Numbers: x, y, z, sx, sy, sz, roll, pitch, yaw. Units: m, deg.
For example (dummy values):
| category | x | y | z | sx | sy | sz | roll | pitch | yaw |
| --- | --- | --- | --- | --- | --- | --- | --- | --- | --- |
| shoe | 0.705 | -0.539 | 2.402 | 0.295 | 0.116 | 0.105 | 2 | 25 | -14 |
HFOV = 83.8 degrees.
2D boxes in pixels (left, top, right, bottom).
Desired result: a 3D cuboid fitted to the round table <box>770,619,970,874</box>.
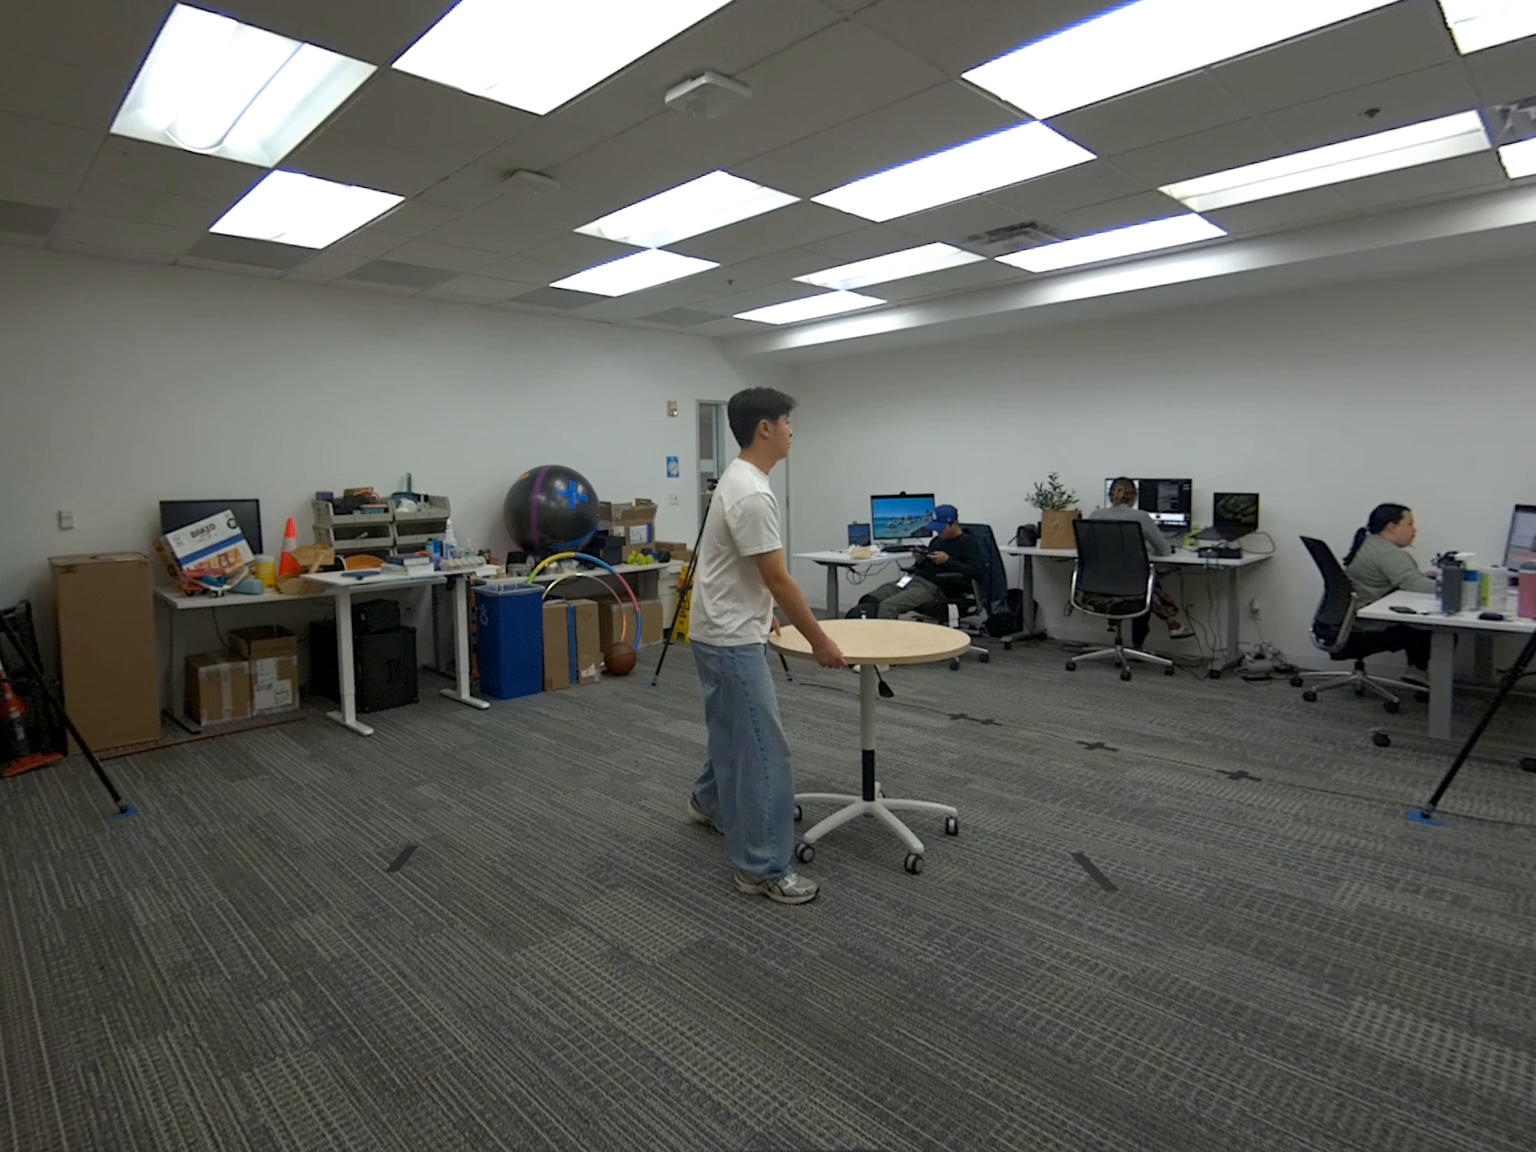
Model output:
| category | x | y | z | sx | sy | sz | roll | pitch | yaw |
| --- | --- | --- | --- | --- | --- | --- | --- | --- | --- |
| round table | 0.383 | 0.622 | 3.313 | 0.763 | 0.791 | 0.768 | -1 | 5 | -2 |
